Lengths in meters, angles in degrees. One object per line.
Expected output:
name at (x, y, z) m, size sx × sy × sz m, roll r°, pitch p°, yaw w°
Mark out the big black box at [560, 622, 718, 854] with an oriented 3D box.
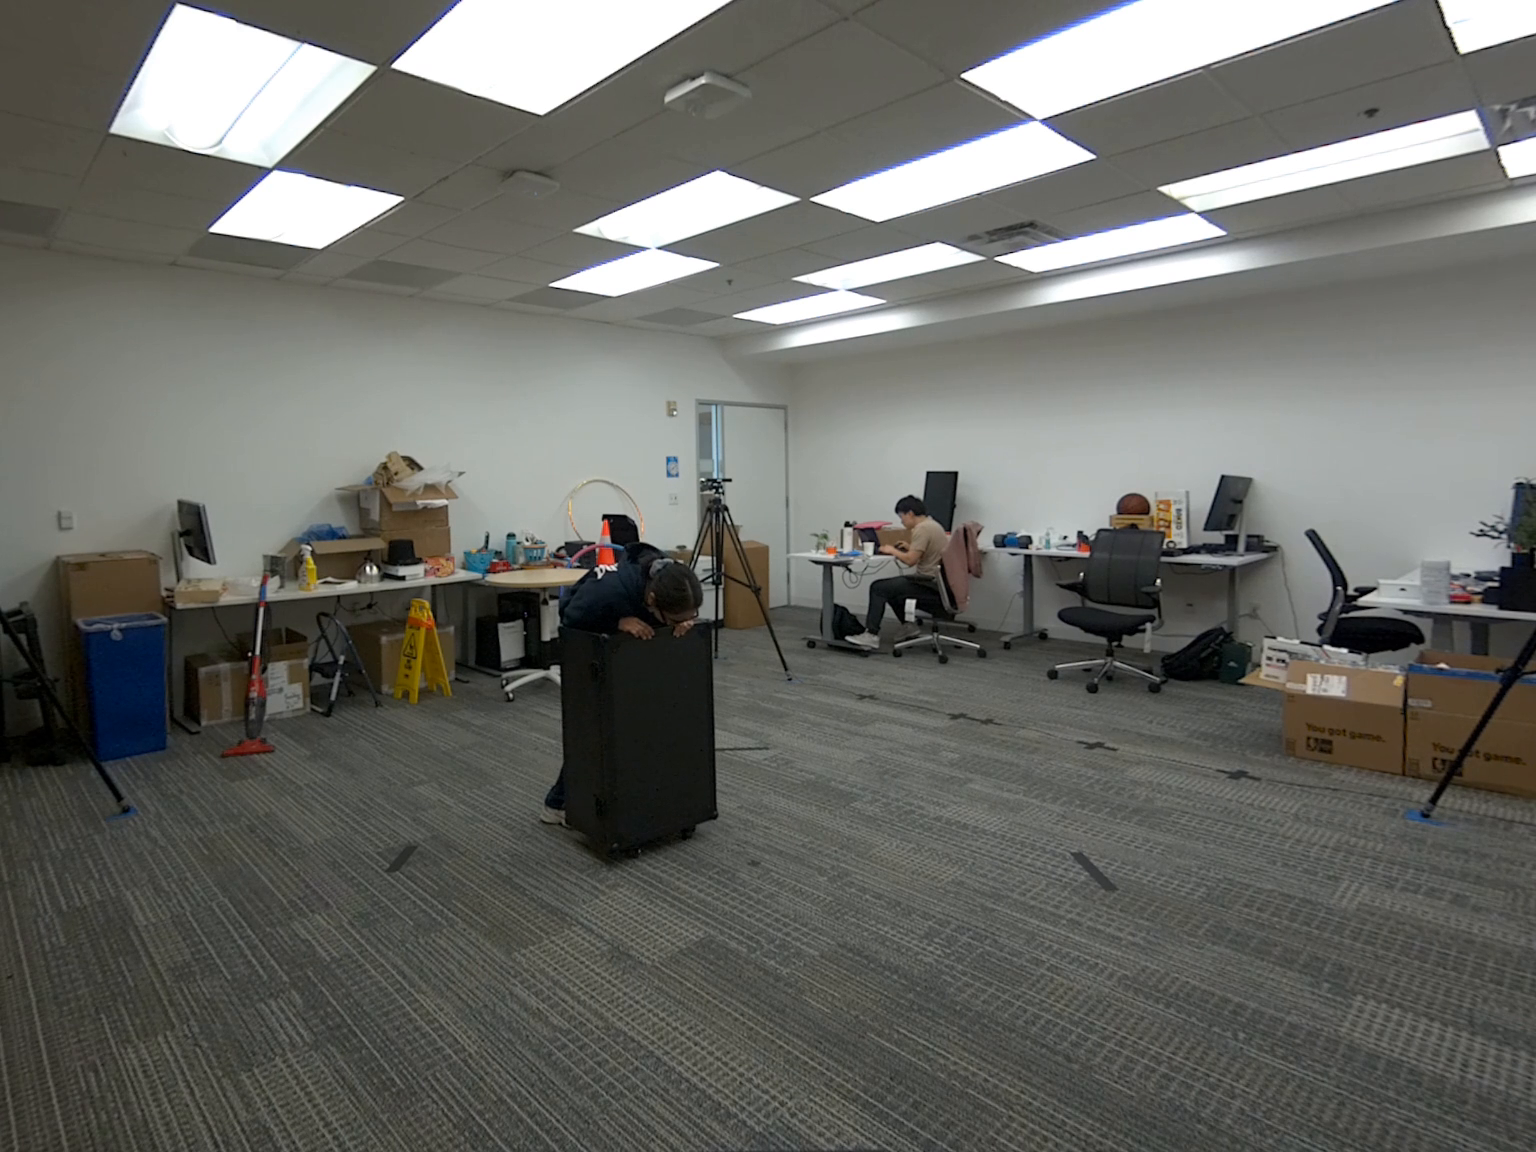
big black box at (-0.507, 0.604, 3.314) m, size 0.508 × 0.859 × 0.408 m, roll -5°, pitch 5°, yaw -39°
